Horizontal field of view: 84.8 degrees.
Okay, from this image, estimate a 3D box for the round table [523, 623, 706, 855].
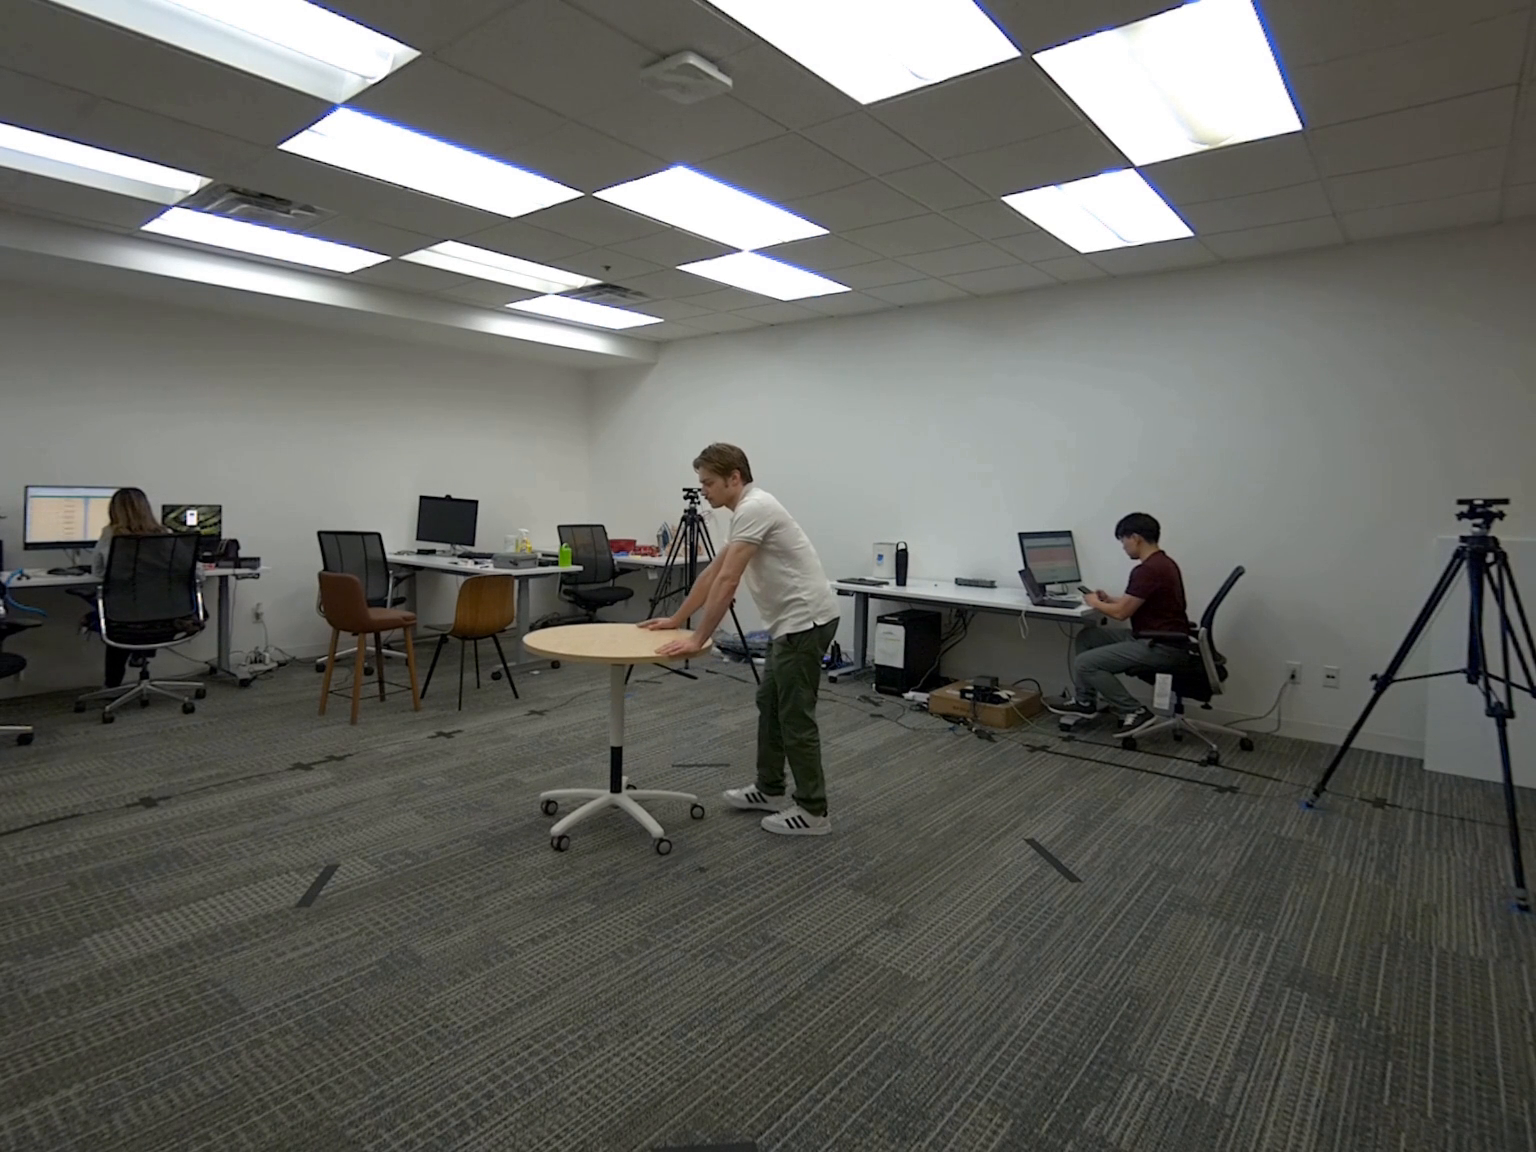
[{"bbox_3d":[-0.632,0.642,3.490,0.763,0.791,0.768,1,4,-2],"label":"round table"}]
